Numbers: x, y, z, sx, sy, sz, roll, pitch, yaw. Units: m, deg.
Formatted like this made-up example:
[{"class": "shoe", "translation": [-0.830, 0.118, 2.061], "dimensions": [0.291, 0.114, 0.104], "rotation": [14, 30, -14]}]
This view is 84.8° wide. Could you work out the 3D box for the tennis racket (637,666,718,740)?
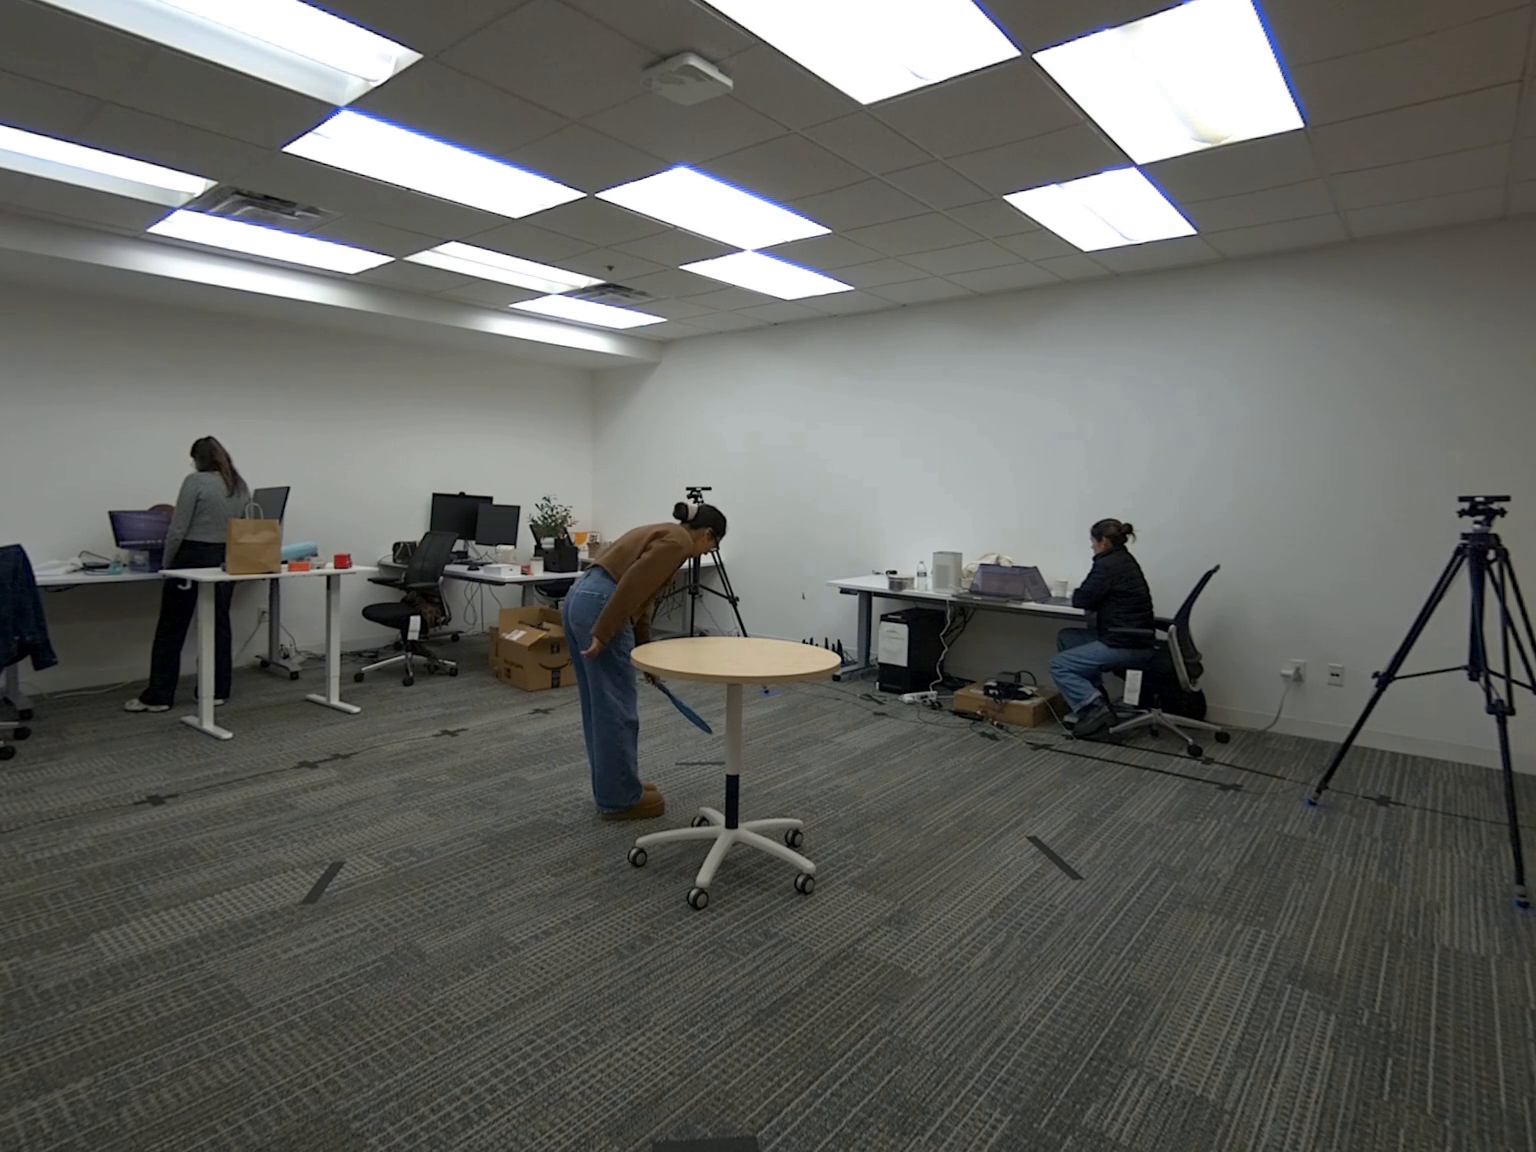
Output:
[{"class": "tennis racket", "translation": [-0.432, 0.592, 3.937], "dimensions": [0.420, 0.032, 0.220], "rotation": [48, -16, -24]}]
